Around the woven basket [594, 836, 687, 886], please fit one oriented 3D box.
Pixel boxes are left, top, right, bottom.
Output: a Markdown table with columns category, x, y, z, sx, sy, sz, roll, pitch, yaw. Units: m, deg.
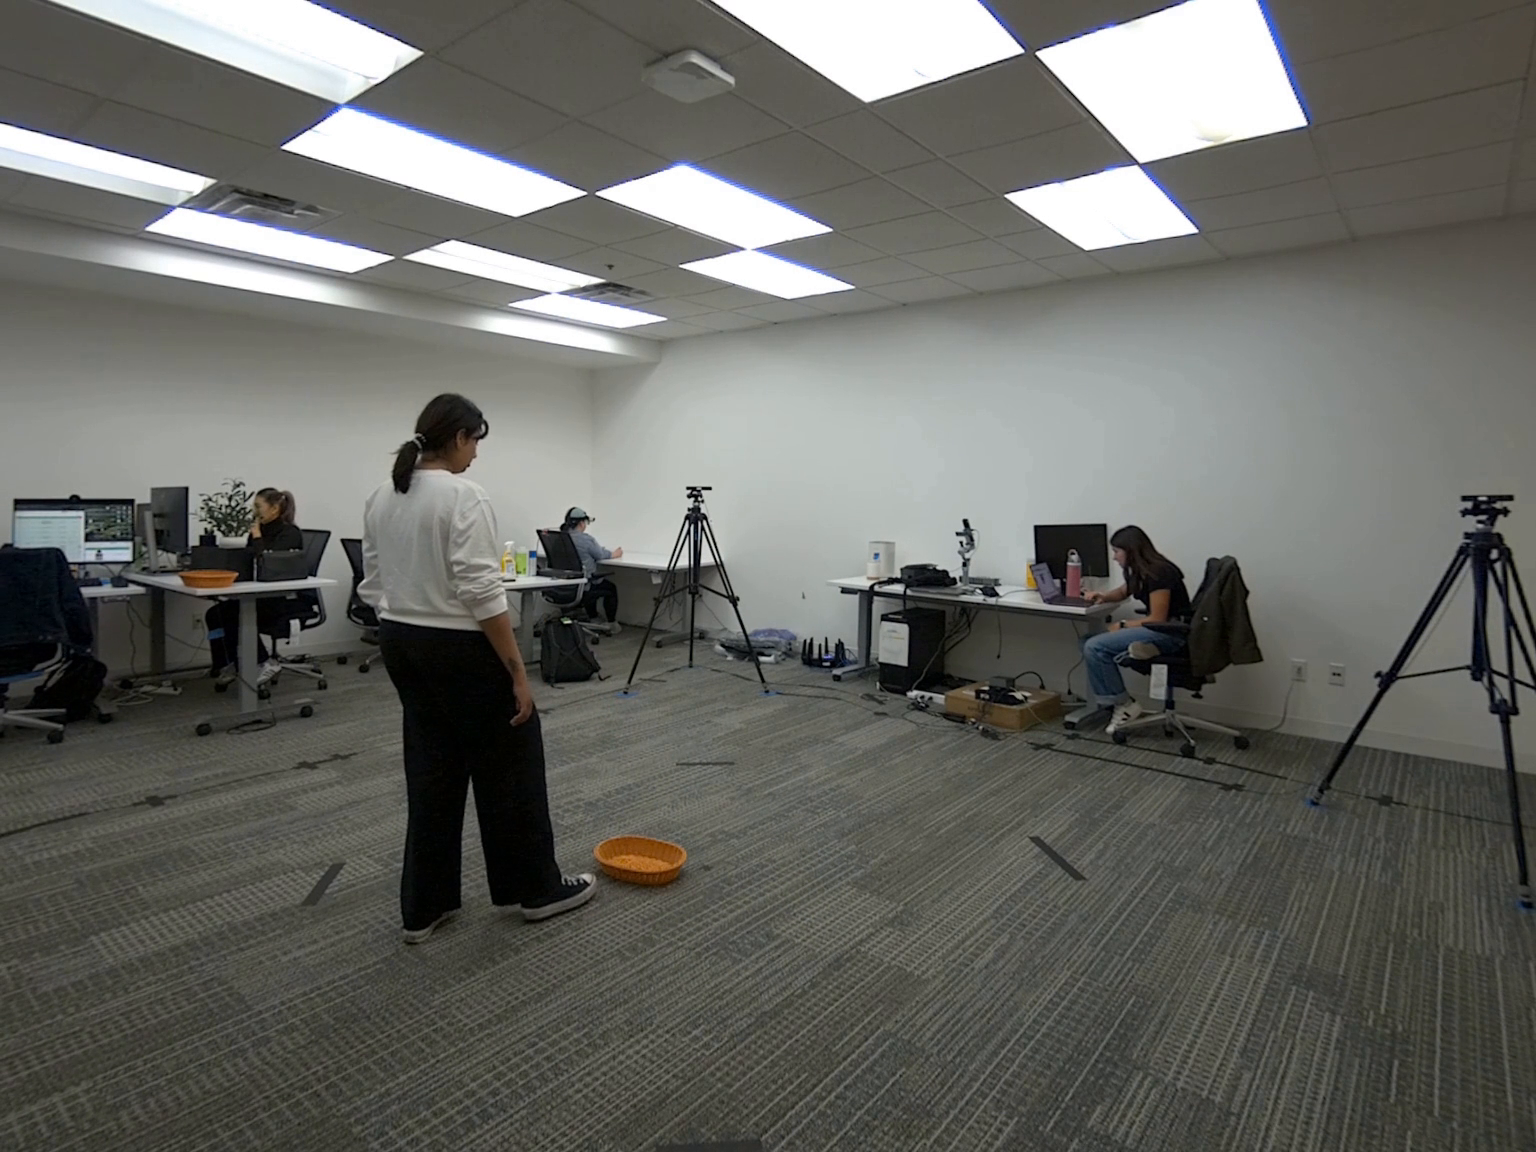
| category | x | y | z | sx | sy | sz | roll | pitch | yaw |
| --- | --- | --- | --- | --- | --- | --- | --- | --- | --- |
| woven basket | -0.463 | 1.024 | 3.062 | 0.360 | 0.073 | 0.247 | 4 | 8 | 27 |
